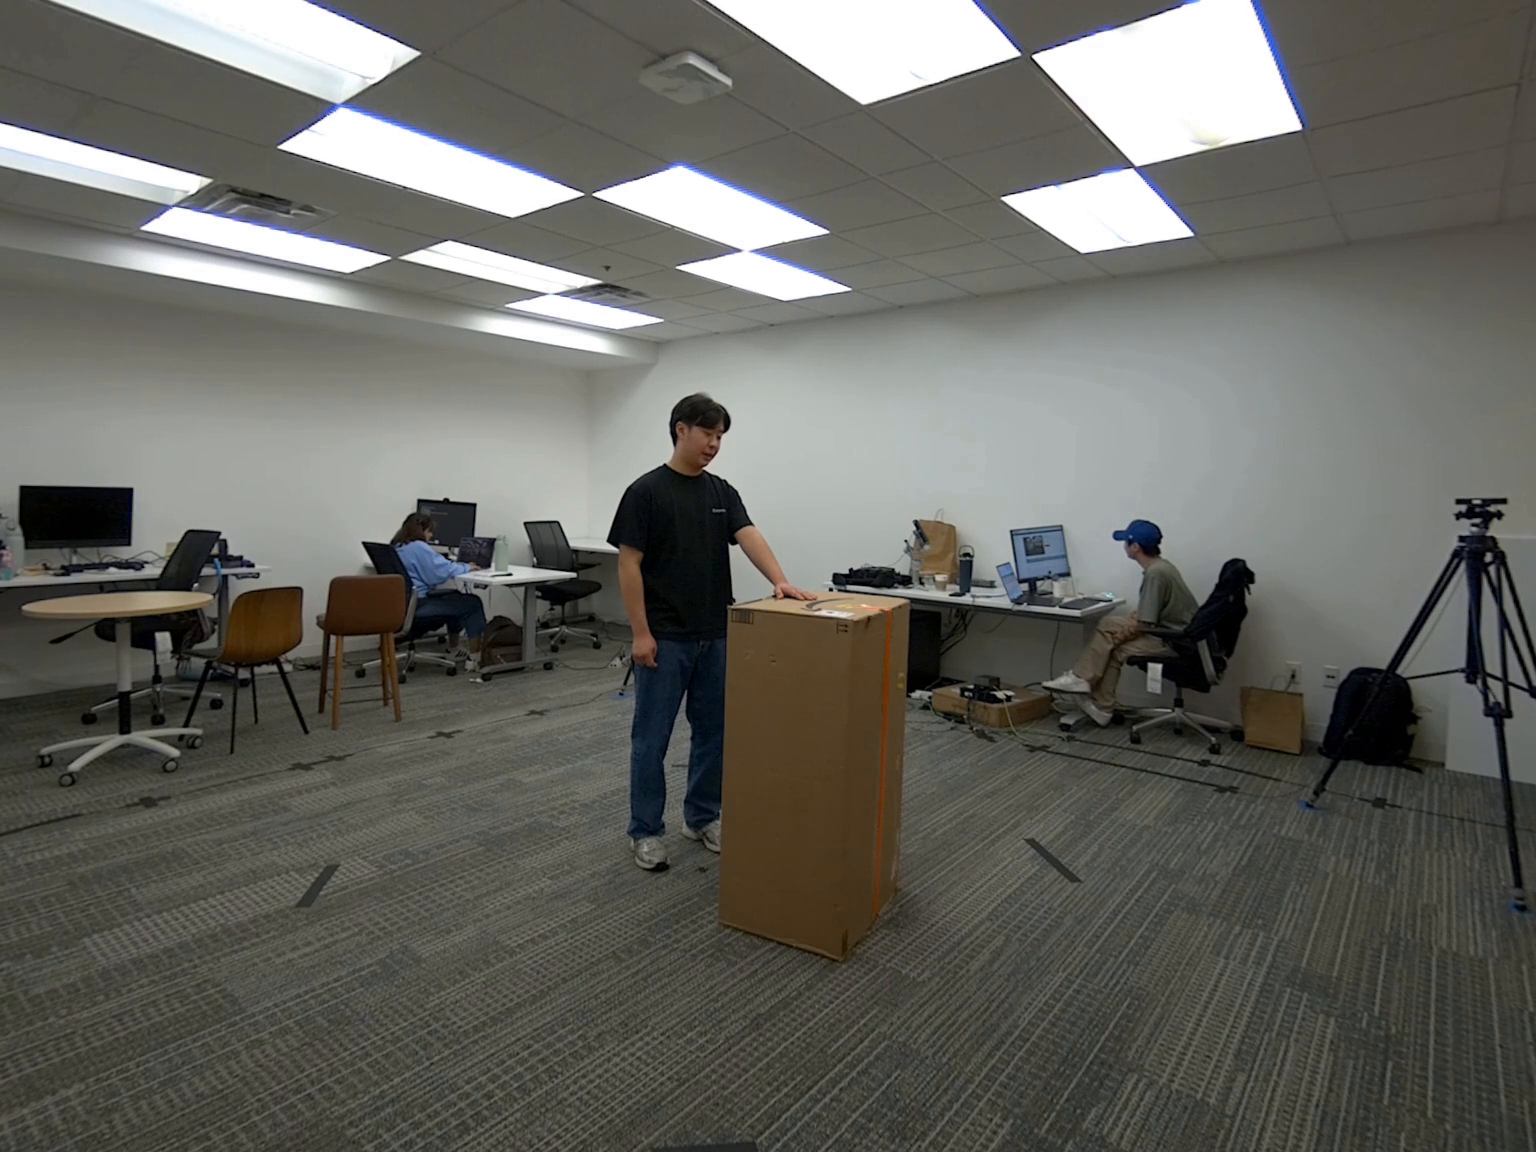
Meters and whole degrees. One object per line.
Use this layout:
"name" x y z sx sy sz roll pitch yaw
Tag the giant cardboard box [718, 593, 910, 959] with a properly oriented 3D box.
"giant cardboard box" 0.164 0.591 2.834 0.460 1.024 0.569 4 4 28
